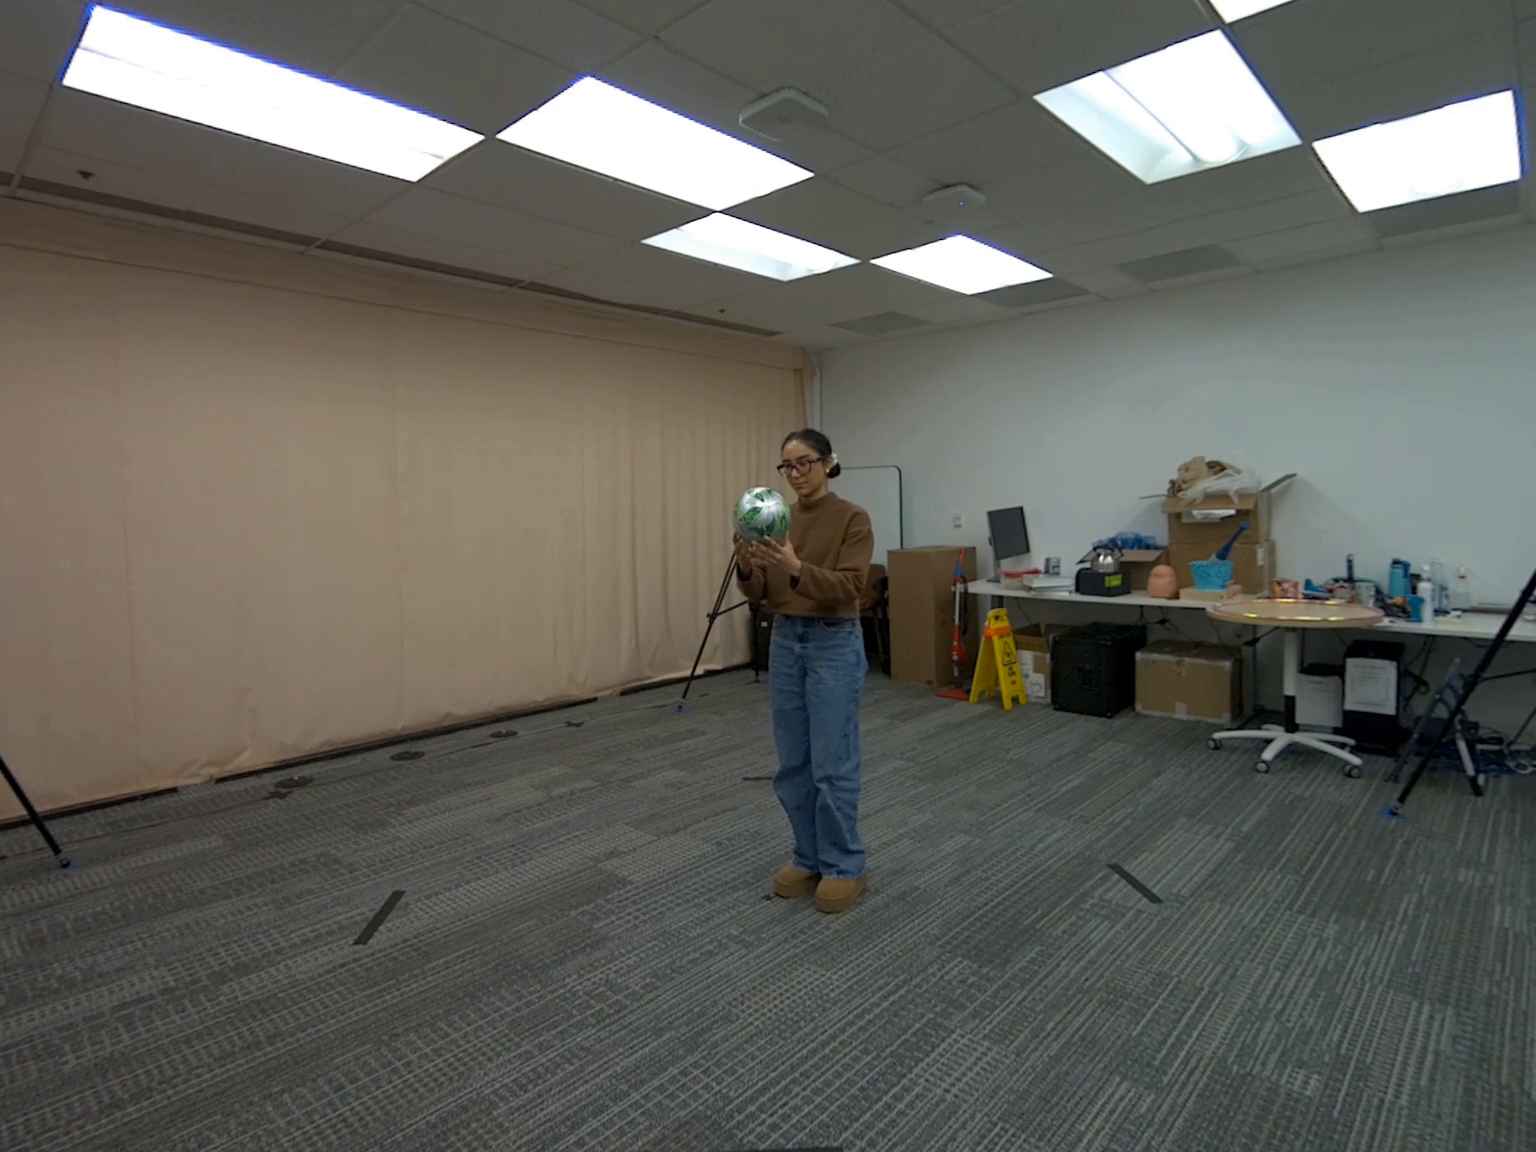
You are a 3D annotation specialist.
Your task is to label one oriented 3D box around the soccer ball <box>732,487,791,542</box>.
[{"bbox_3d":[-0.019,-0.183,2.650,0.187,0.187,0.188,-1,4,-2],"label":"soccer ball"}]
